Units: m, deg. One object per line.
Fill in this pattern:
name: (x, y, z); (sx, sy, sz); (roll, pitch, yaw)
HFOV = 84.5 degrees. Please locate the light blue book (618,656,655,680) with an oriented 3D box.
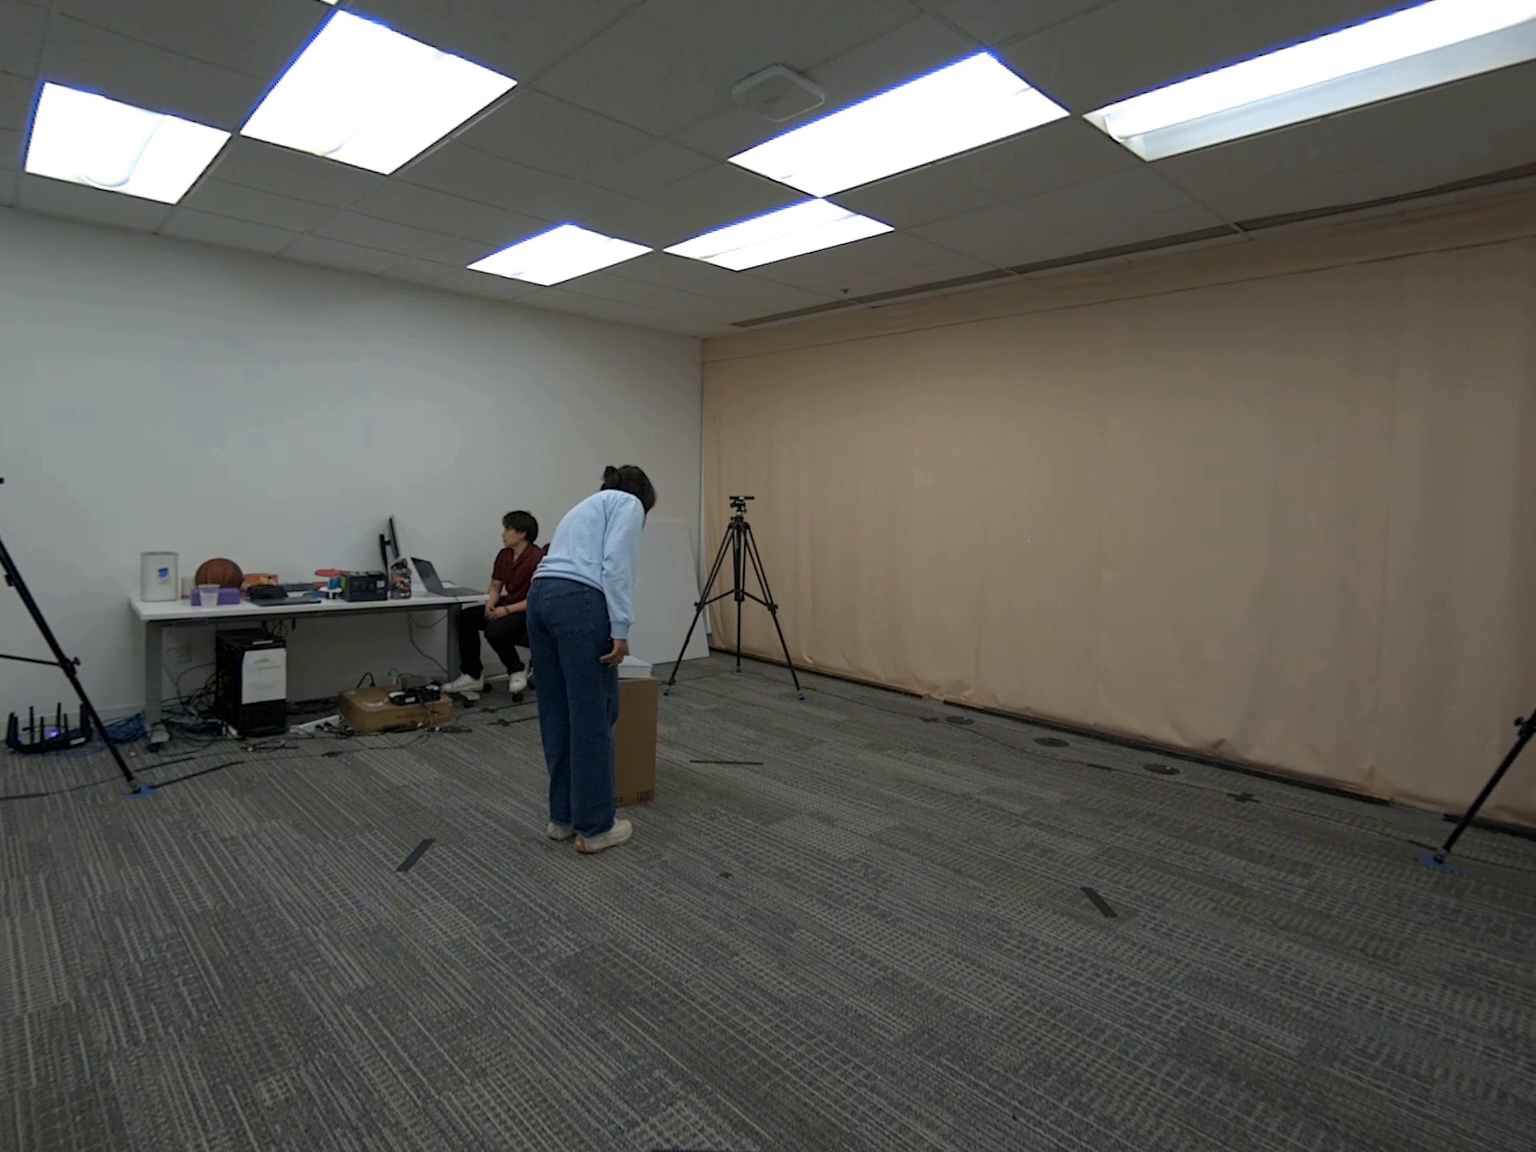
light blue book: (-0.671, 0.420, 3.916); (0.187, 0.059, 0.267); (6, 2, -31)
